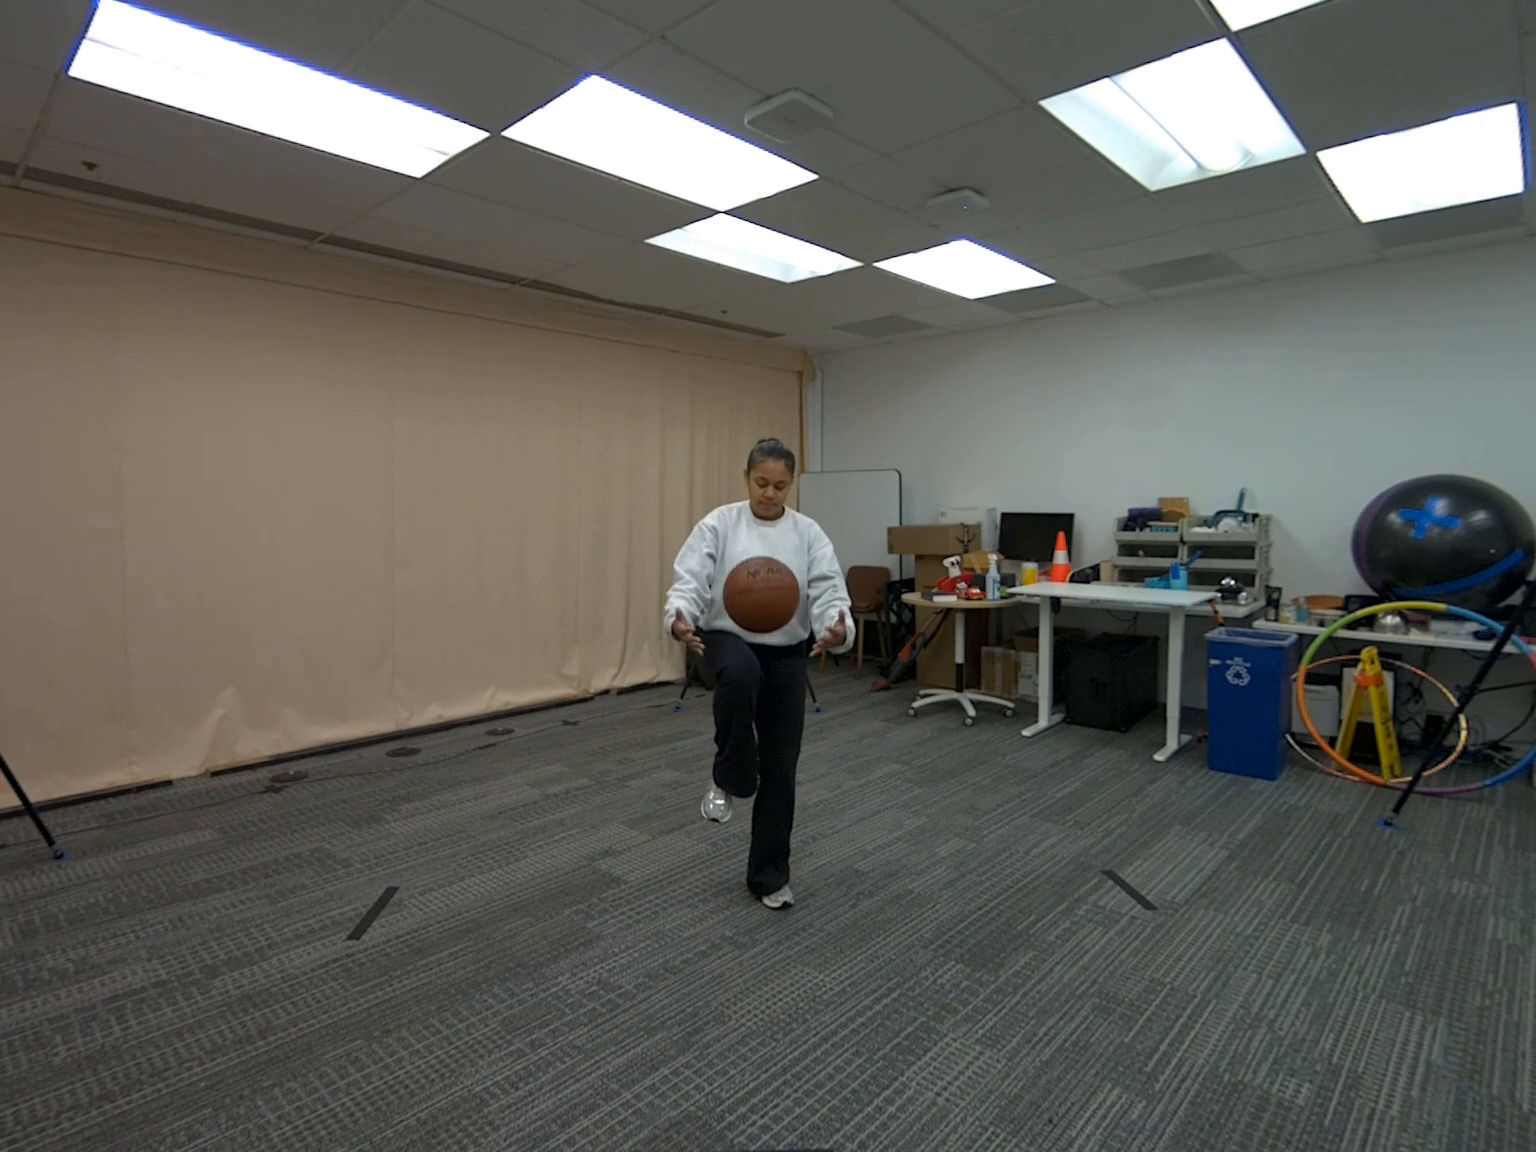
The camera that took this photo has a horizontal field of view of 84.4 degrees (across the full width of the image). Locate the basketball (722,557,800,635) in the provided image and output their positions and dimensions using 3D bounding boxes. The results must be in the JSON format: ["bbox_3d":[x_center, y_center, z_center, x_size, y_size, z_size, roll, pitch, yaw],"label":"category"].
[{"bbox_3d":[-0.021,0.082,2.592,0.236,0.235,0.237,0,4,-2],"label":"basketball"}]
